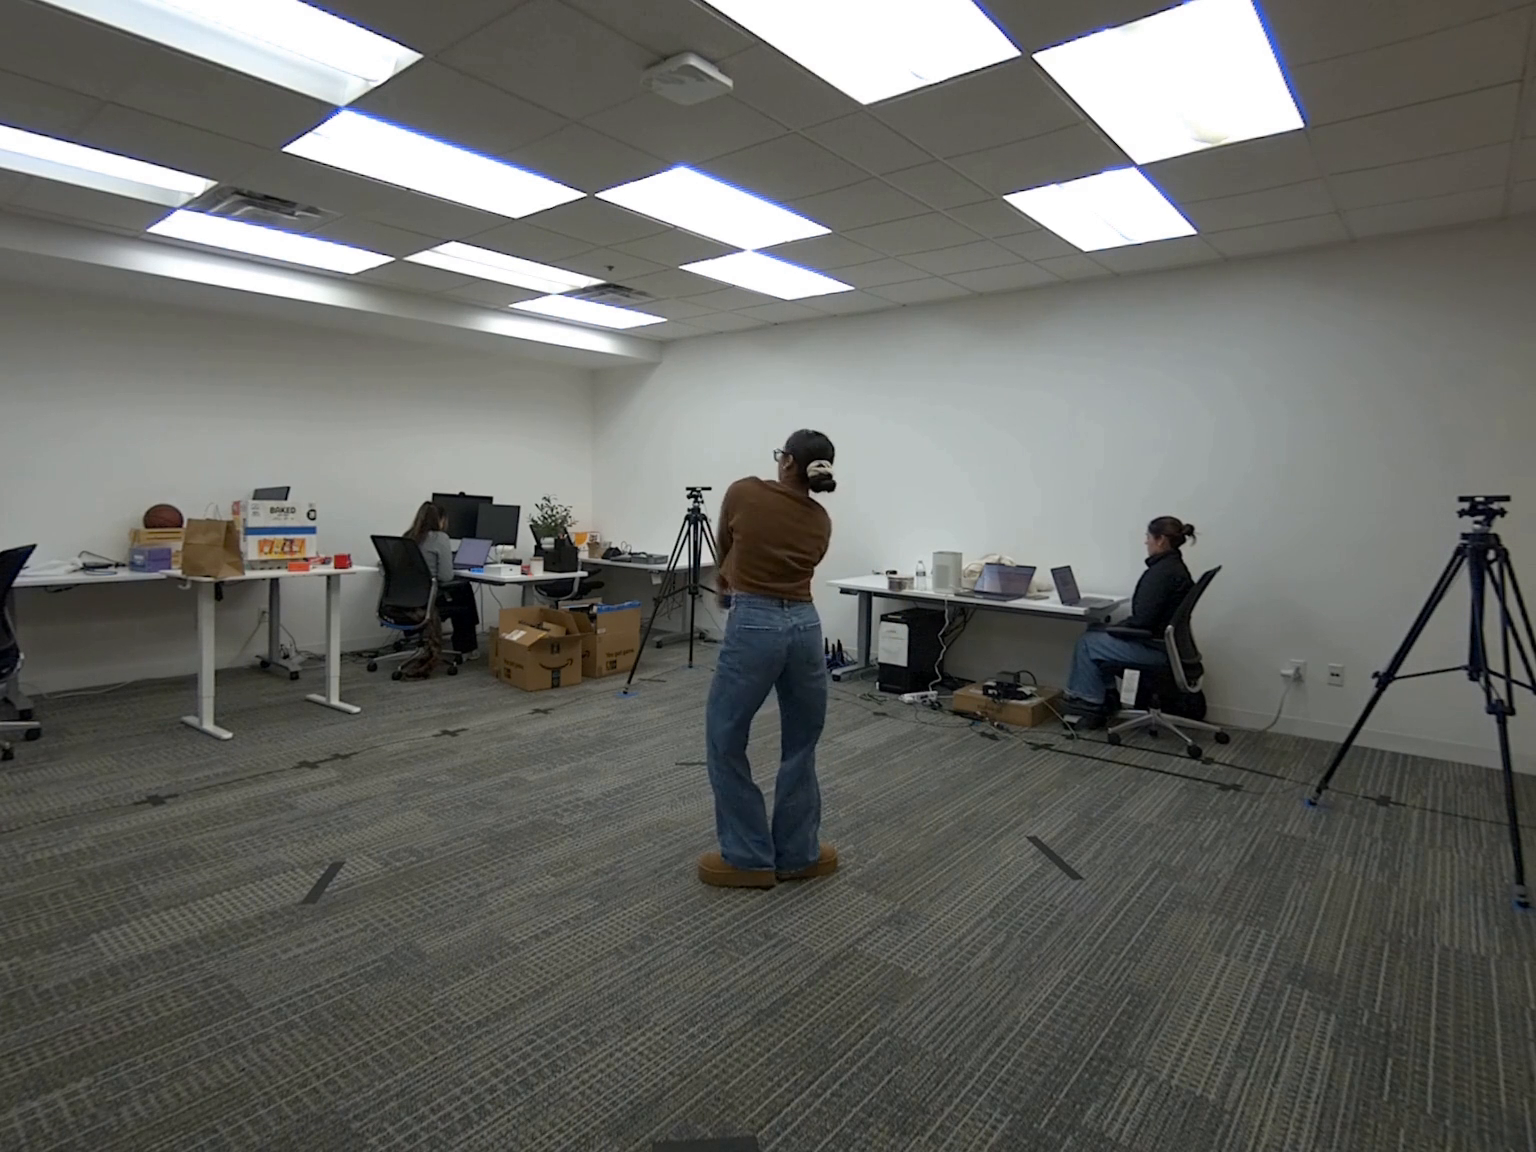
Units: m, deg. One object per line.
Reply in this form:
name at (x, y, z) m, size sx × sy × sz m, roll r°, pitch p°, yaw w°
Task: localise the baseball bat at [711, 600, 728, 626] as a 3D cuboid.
baseball bat at (-0.085, 0.132, 3.543) m, size 0.091 × 0.089 × 0.531 m, roll 2°, pitch 4°, yaw 22°
